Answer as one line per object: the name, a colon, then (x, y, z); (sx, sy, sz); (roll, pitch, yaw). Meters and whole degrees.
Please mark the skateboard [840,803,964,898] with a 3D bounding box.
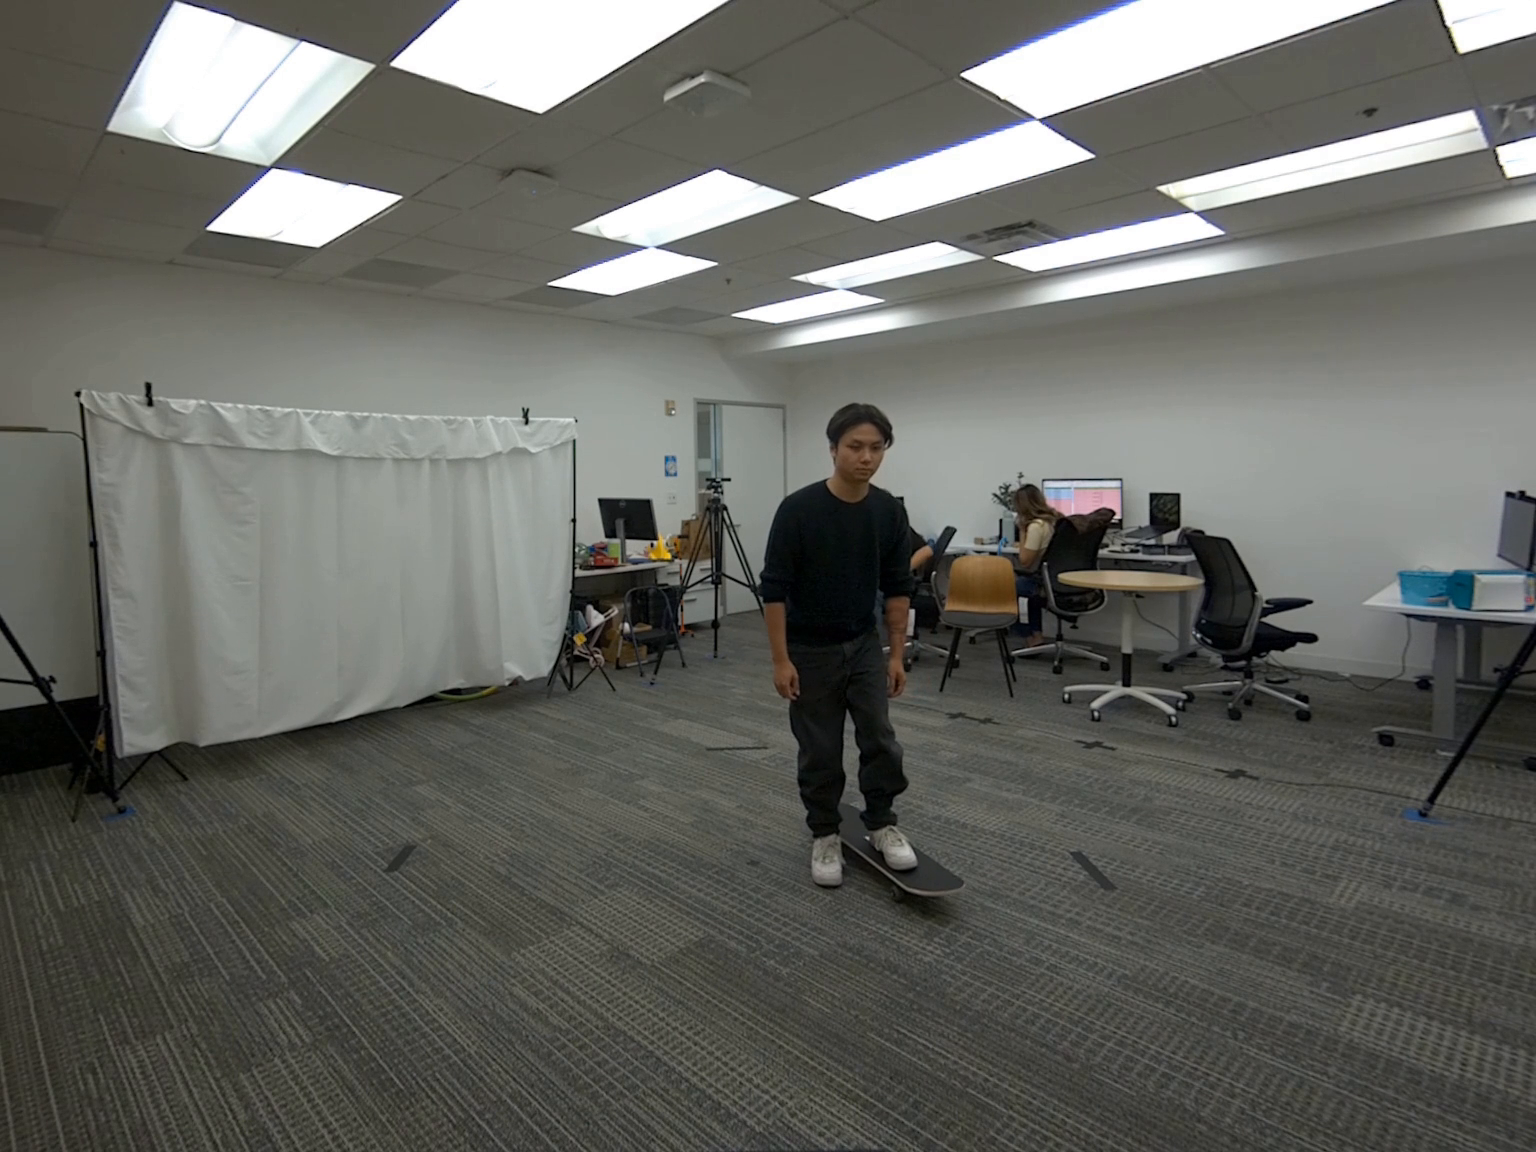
skateboard: (0.415, 0.987, 3.019); (0.190, 0.110, 0.804); (-4, 7, -23)
